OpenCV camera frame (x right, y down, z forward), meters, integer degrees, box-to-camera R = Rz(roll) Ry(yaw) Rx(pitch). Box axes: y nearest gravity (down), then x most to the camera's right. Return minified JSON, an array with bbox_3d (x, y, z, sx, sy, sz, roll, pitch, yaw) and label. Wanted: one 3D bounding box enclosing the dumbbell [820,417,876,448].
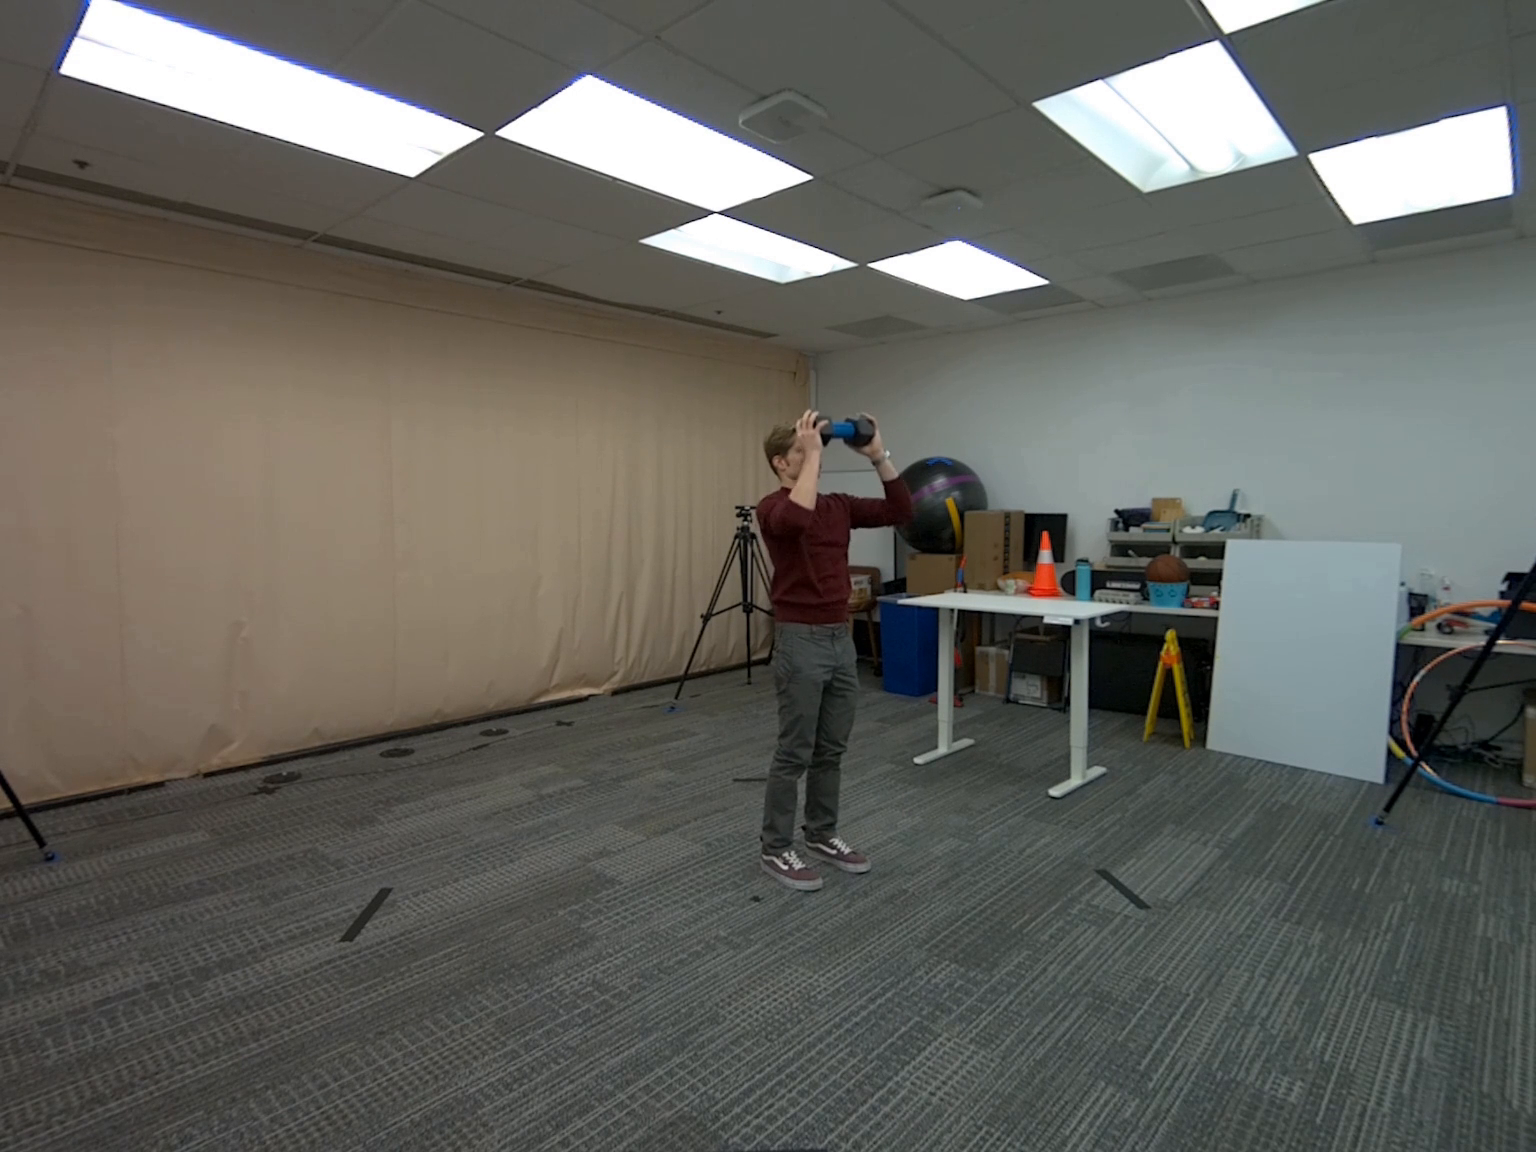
[{"bbox_3d":[0.243,-0.529,3.059,0.286,0.123,0.111,-10,-6,-35],"label":"dumbbell"}]
